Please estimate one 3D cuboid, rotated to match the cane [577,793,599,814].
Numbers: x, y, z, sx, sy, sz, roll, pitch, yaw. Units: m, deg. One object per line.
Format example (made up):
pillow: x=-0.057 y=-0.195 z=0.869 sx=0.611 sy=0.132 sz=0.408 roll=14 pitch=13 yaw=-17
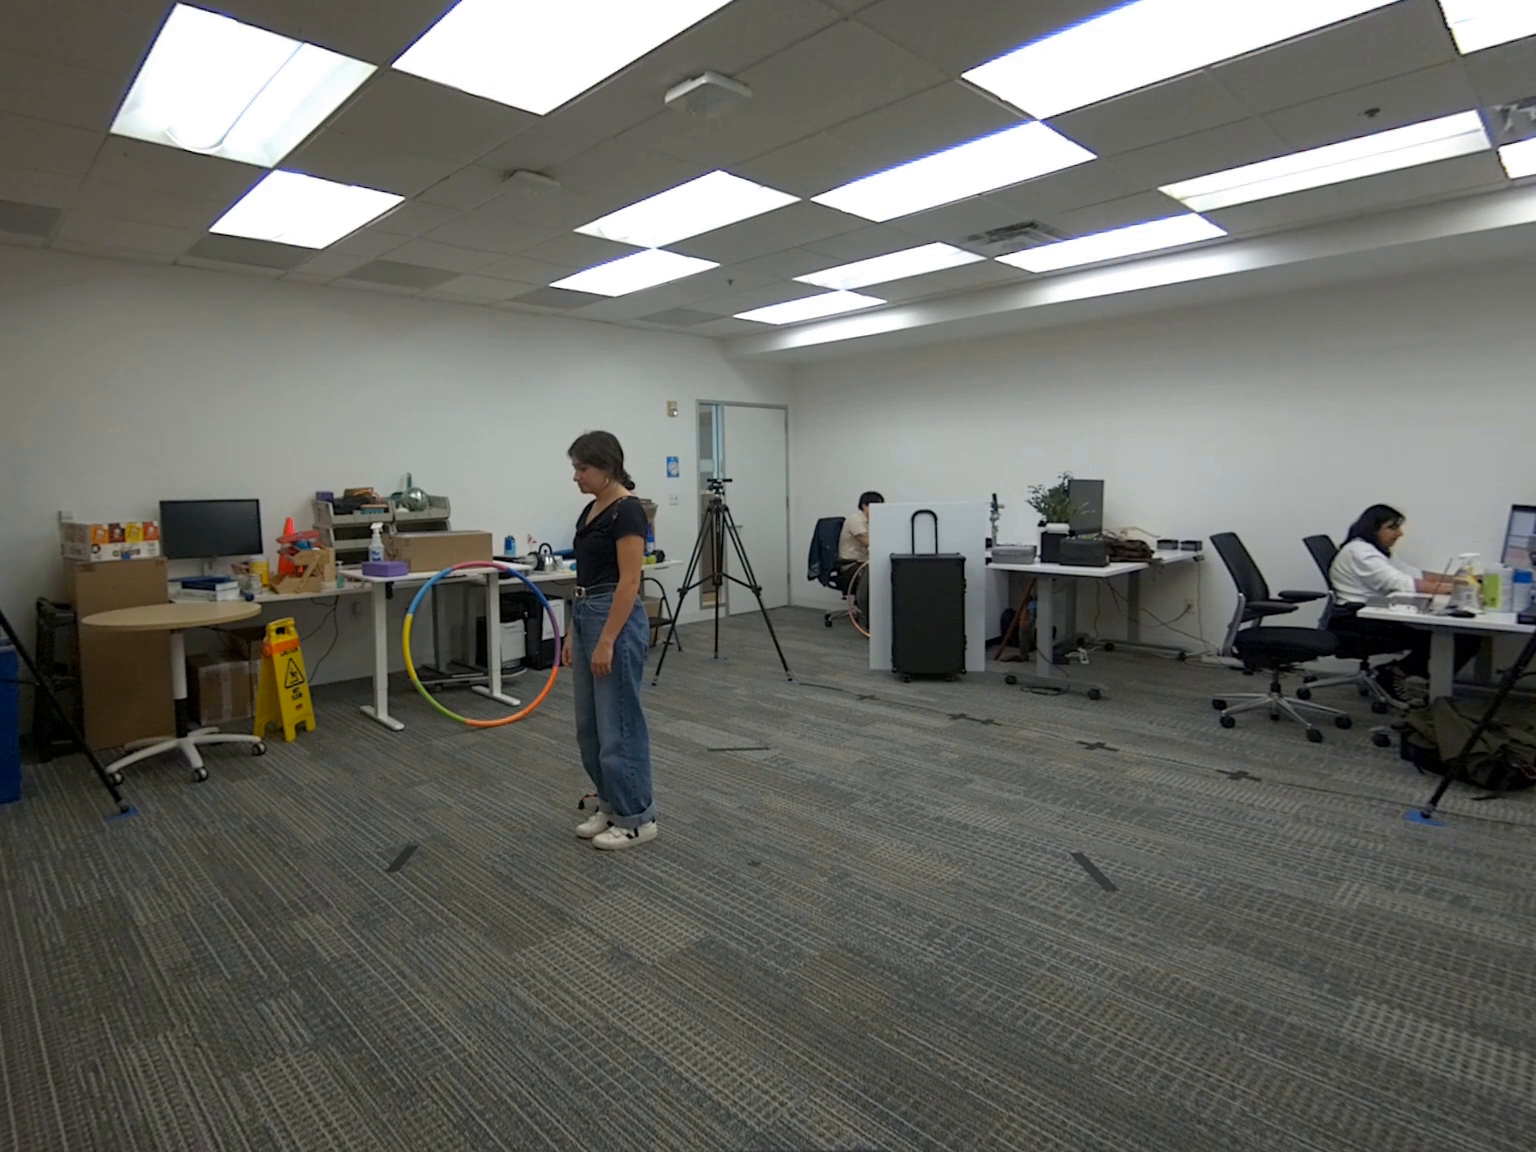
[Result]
cane: x=-0.696 y=0.545 z=3.674 sx=0.156 sy=0.905 sz=0.201 roll=3 pitch=4 yaw=43
